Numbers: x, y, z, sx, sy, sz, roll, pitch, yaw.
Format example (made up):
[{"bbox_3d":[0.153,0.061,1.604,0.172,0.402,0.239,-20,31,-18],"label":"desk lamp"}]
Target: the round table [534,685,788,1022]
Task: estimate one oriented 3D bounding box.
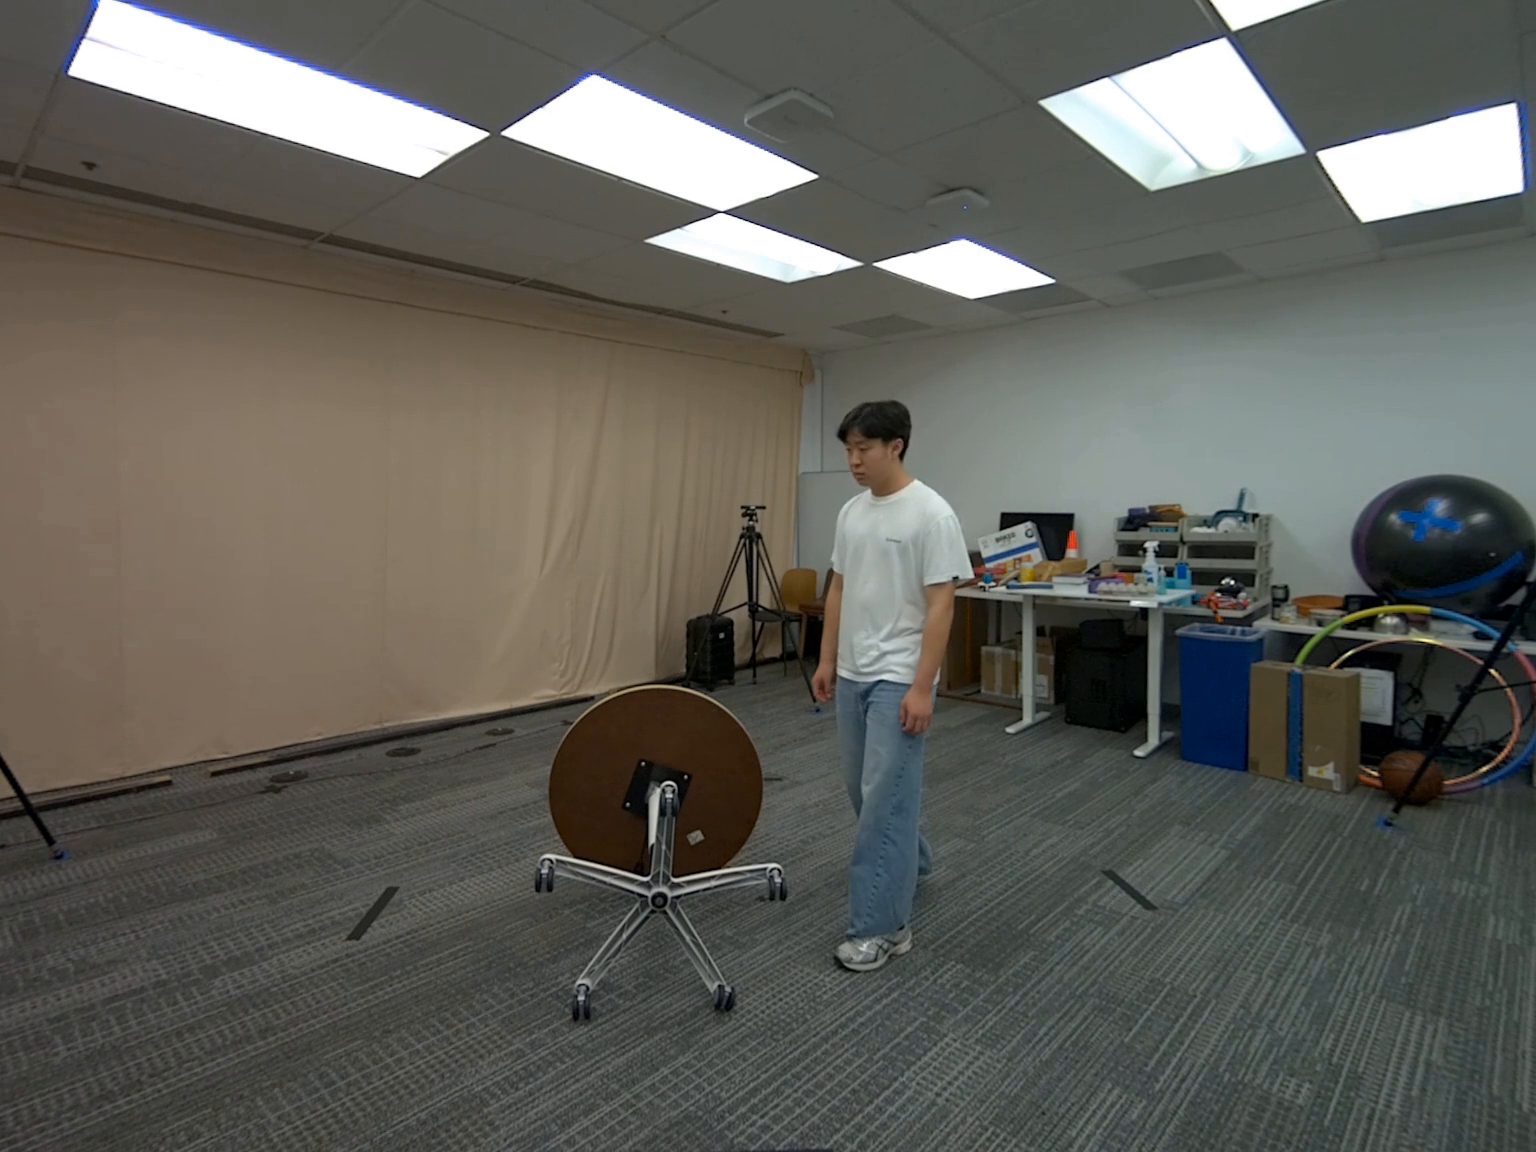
[{"bbox_3d":[-0.333,0.831,2.632,0.779,0.781,0.797,-1,9,-8],"label":"round table"}]
